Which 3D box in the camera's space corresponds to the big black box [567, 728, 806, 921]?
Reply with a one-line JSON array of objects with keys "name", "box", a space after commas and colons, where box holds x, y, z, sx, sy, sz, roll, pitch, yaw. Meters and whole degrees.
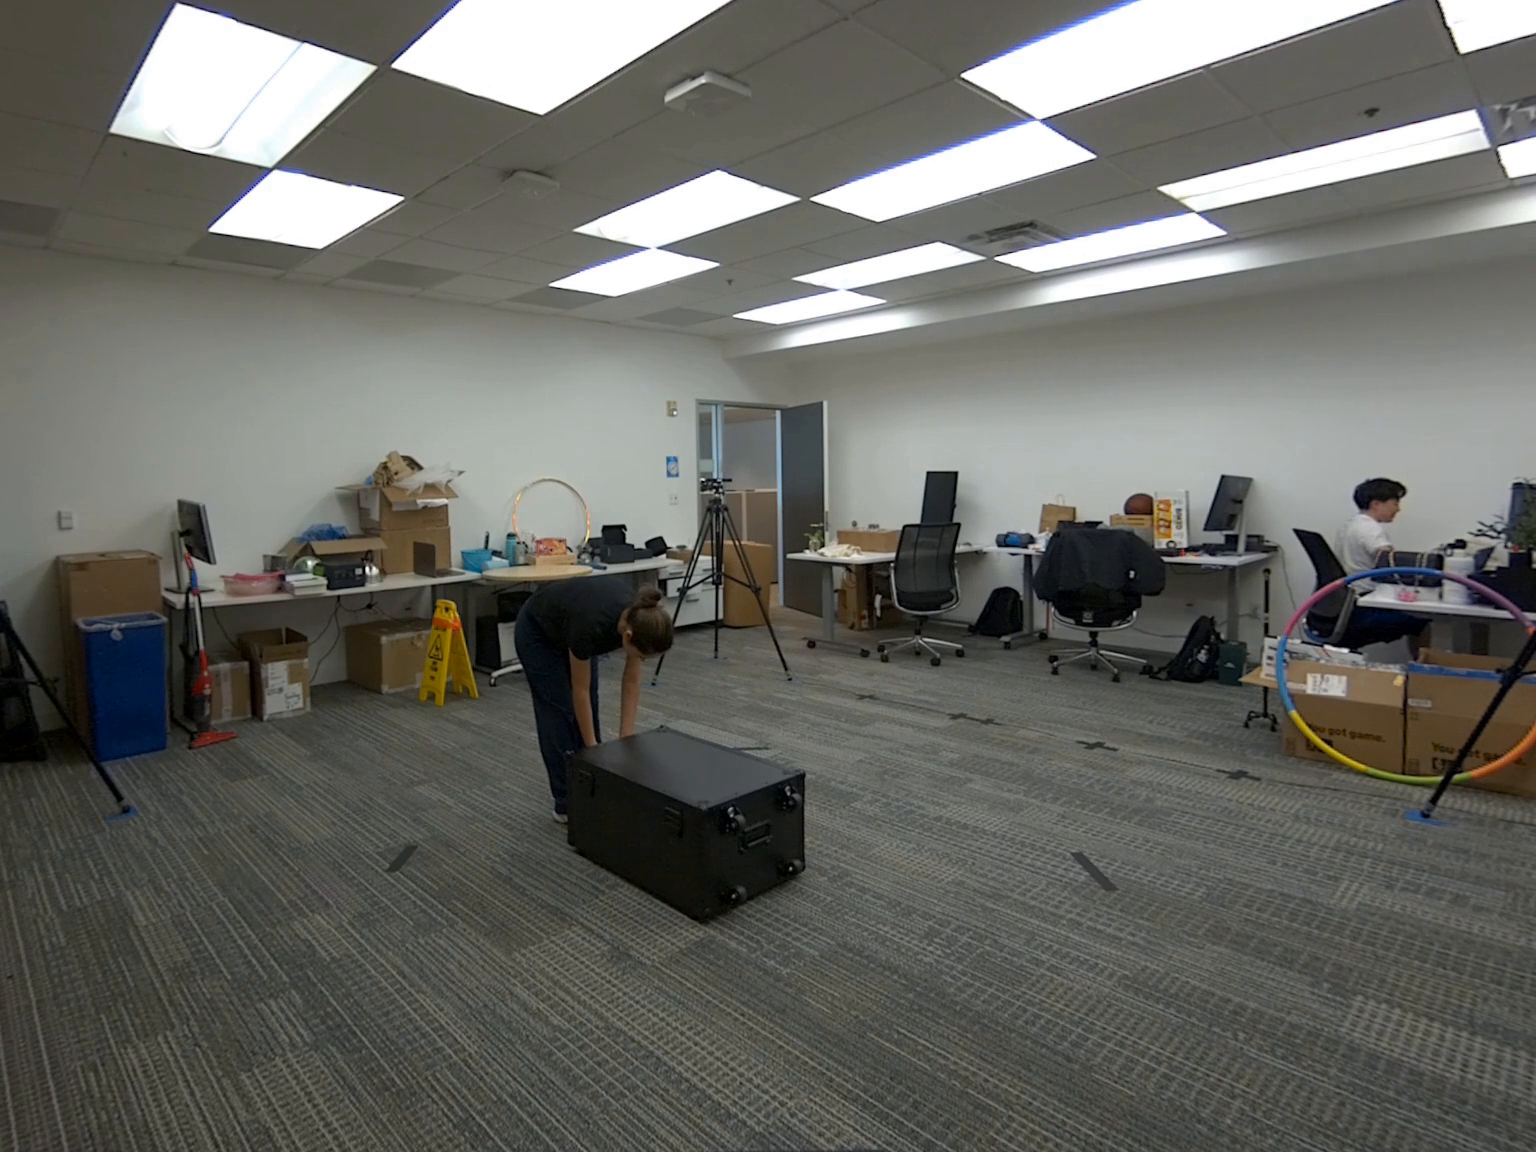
[{"name": "big black box", "box": [-0.296, 0.862, 3.088, 0.508, 0.395, 0.888, -6, 7, -45]}]
